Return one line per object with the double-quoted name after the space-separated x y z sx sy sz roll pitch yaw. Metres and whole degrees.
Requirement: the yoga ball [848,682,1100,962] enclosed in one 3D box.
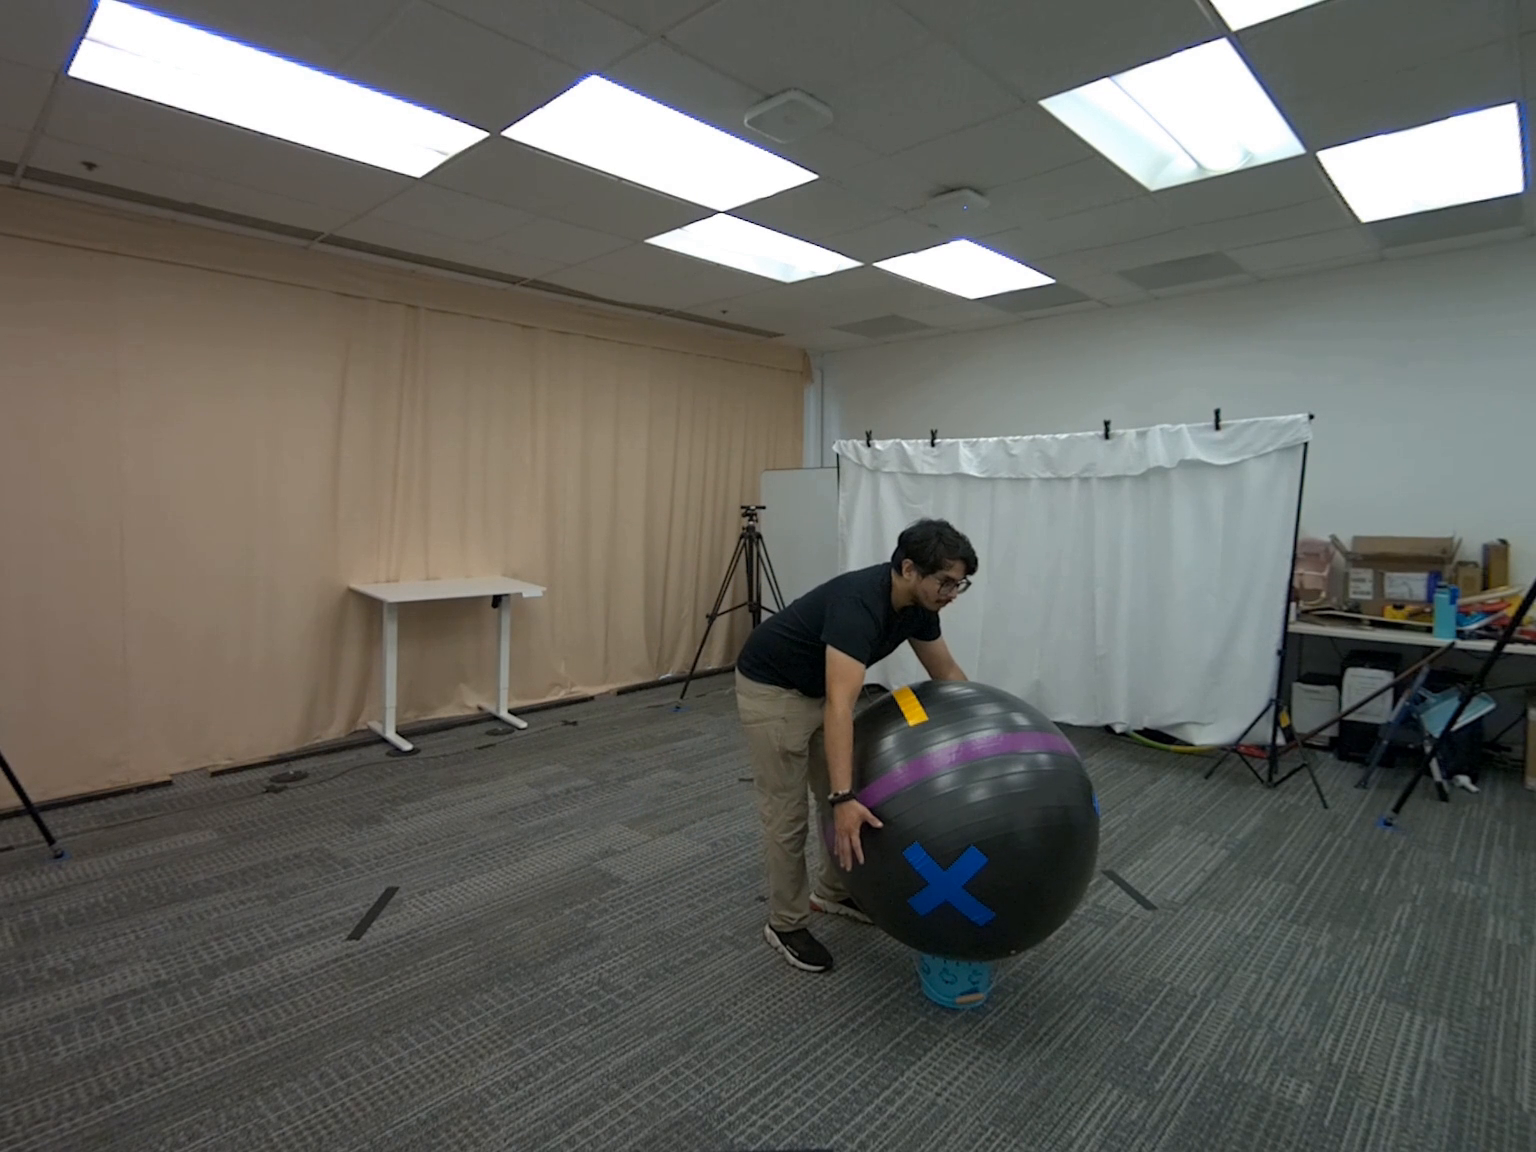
0.536 0.688 2.396 0.757 0.756 0.760 0 4 -2 "yoga ball"
